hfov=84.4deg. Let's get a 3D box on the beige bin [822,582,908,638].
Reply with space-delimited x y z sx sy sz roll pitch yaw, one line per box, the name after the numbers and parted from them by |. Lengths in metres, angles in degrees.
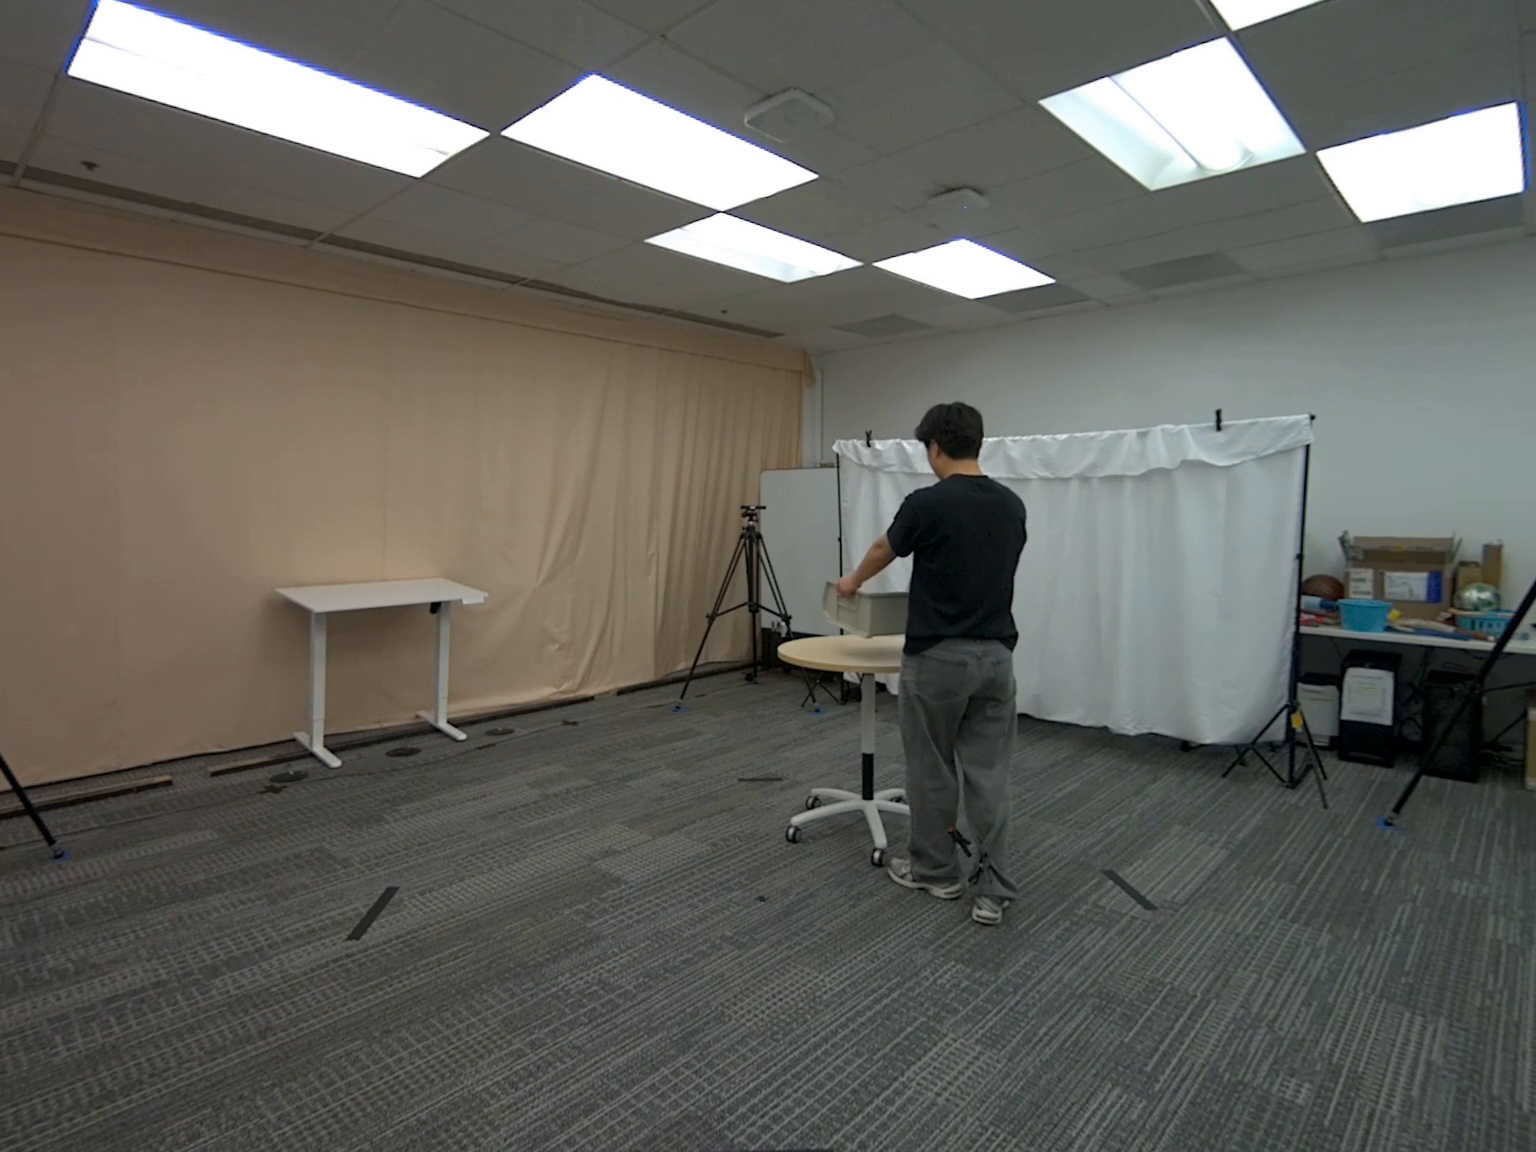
0.497 0.121 3.425 0.413 0.188 0.387 -1 10 -22 | beige bin
